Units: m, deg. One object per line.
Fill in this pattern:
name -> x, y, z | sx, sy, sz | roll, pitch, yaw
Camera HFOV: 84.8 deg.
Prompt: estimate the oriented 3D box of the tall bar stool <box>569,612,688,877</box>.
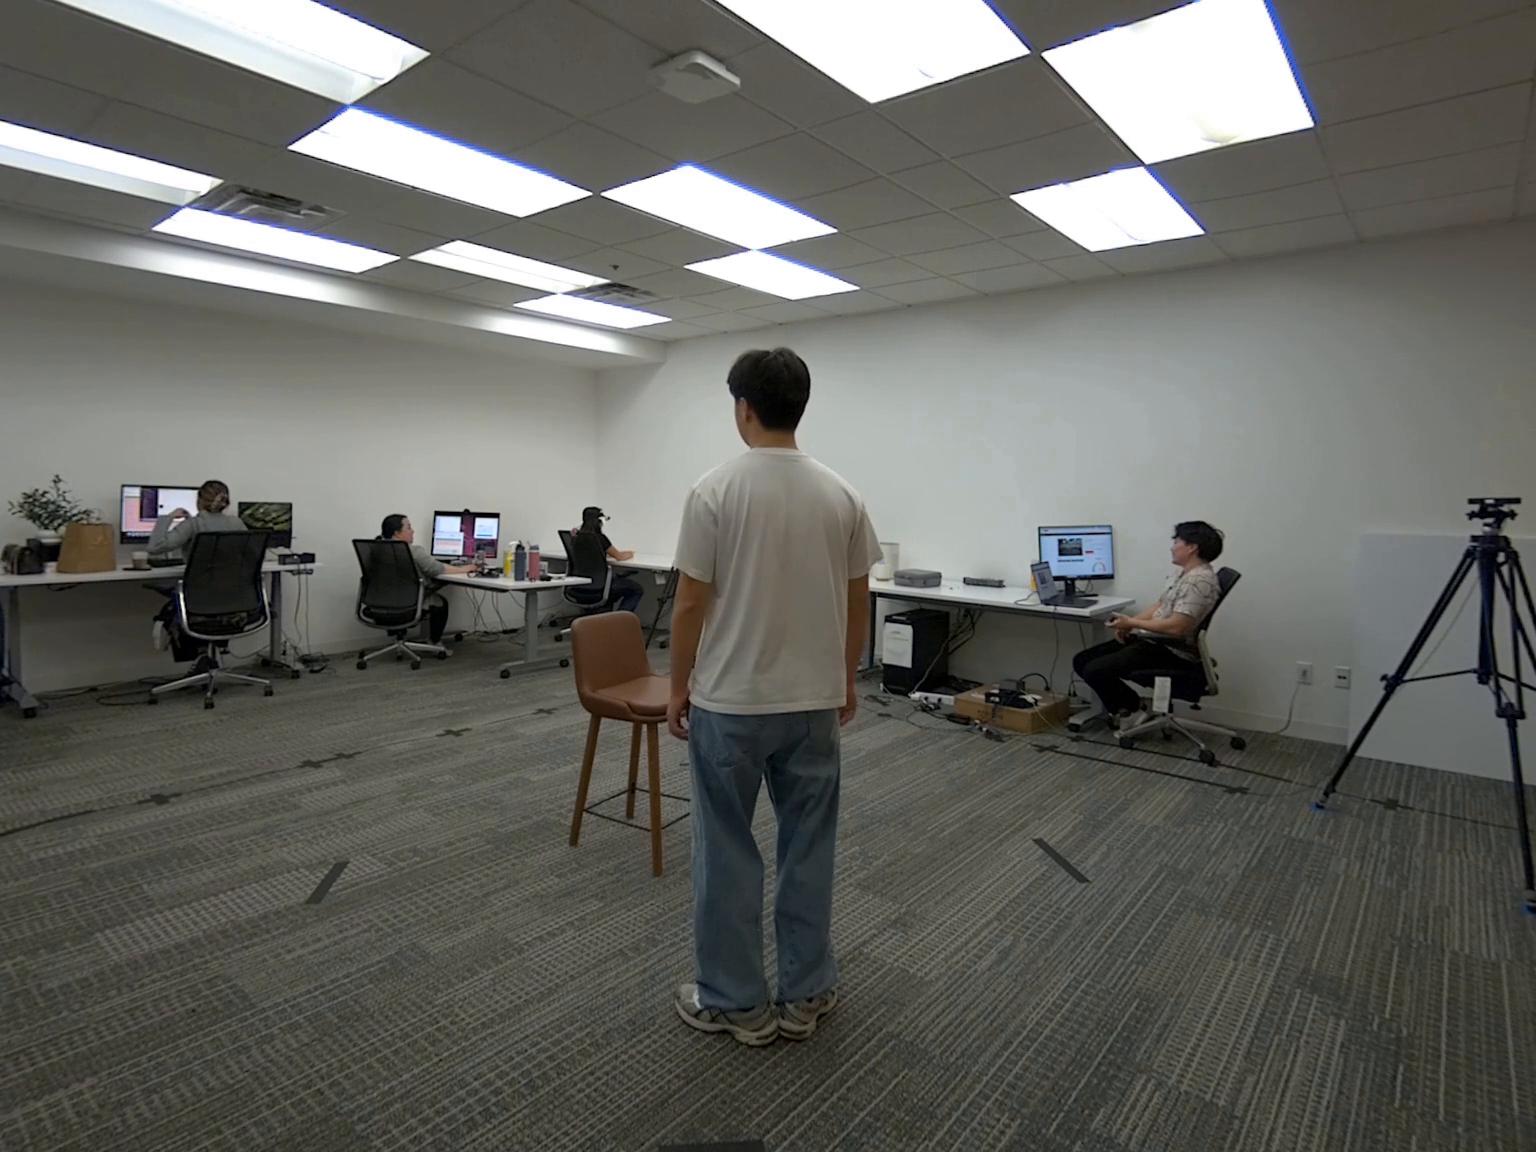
tall bar stool -> -0.493, 0.606, 3.309 | 0.481, 0.888, 0.444 | 0, 2, 32
